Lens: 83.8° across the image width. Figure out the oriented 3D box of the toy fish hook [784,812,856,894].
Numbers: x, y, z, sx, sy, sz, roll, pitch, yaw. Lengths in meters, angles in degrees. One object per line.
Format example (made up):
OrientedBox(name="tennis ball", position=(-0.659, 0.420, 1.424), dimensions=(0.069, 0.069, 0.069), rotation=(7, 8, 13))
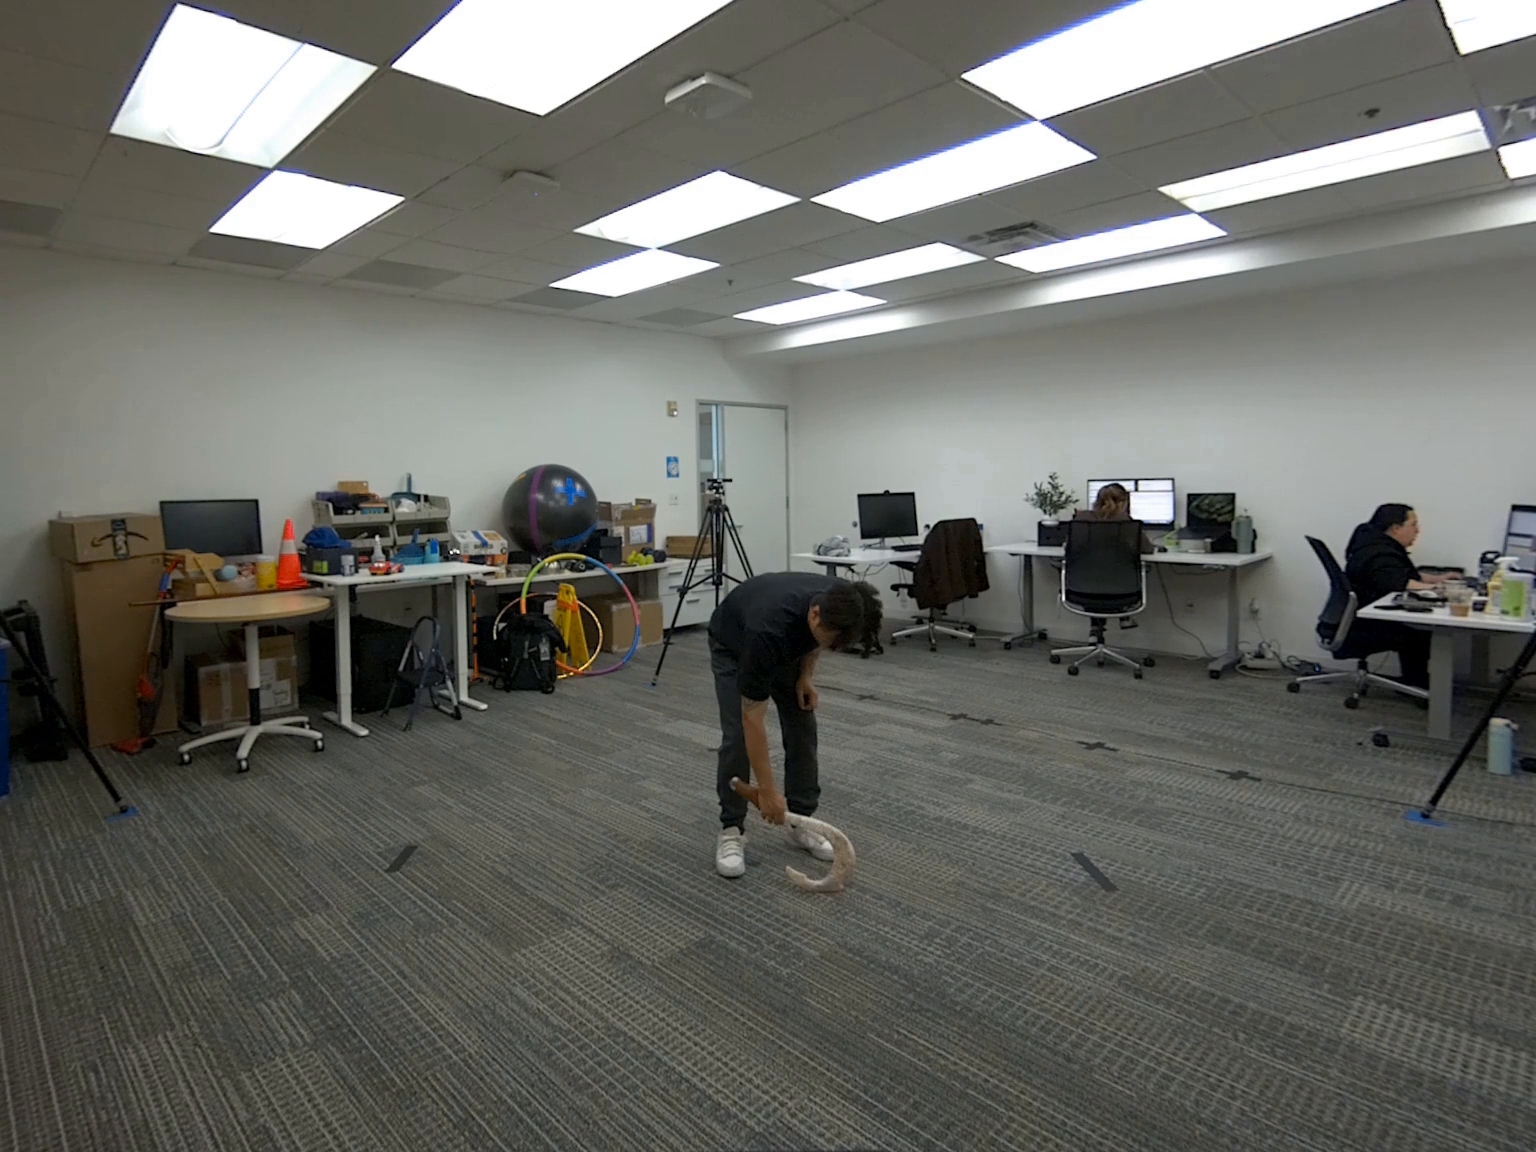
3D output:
OrientedBox(name="toy fish hook", position=(0.058, 0.884, 2.922), dimensions=(0.513, 0.225, 0.047), rotation=(32, -17, 9))
